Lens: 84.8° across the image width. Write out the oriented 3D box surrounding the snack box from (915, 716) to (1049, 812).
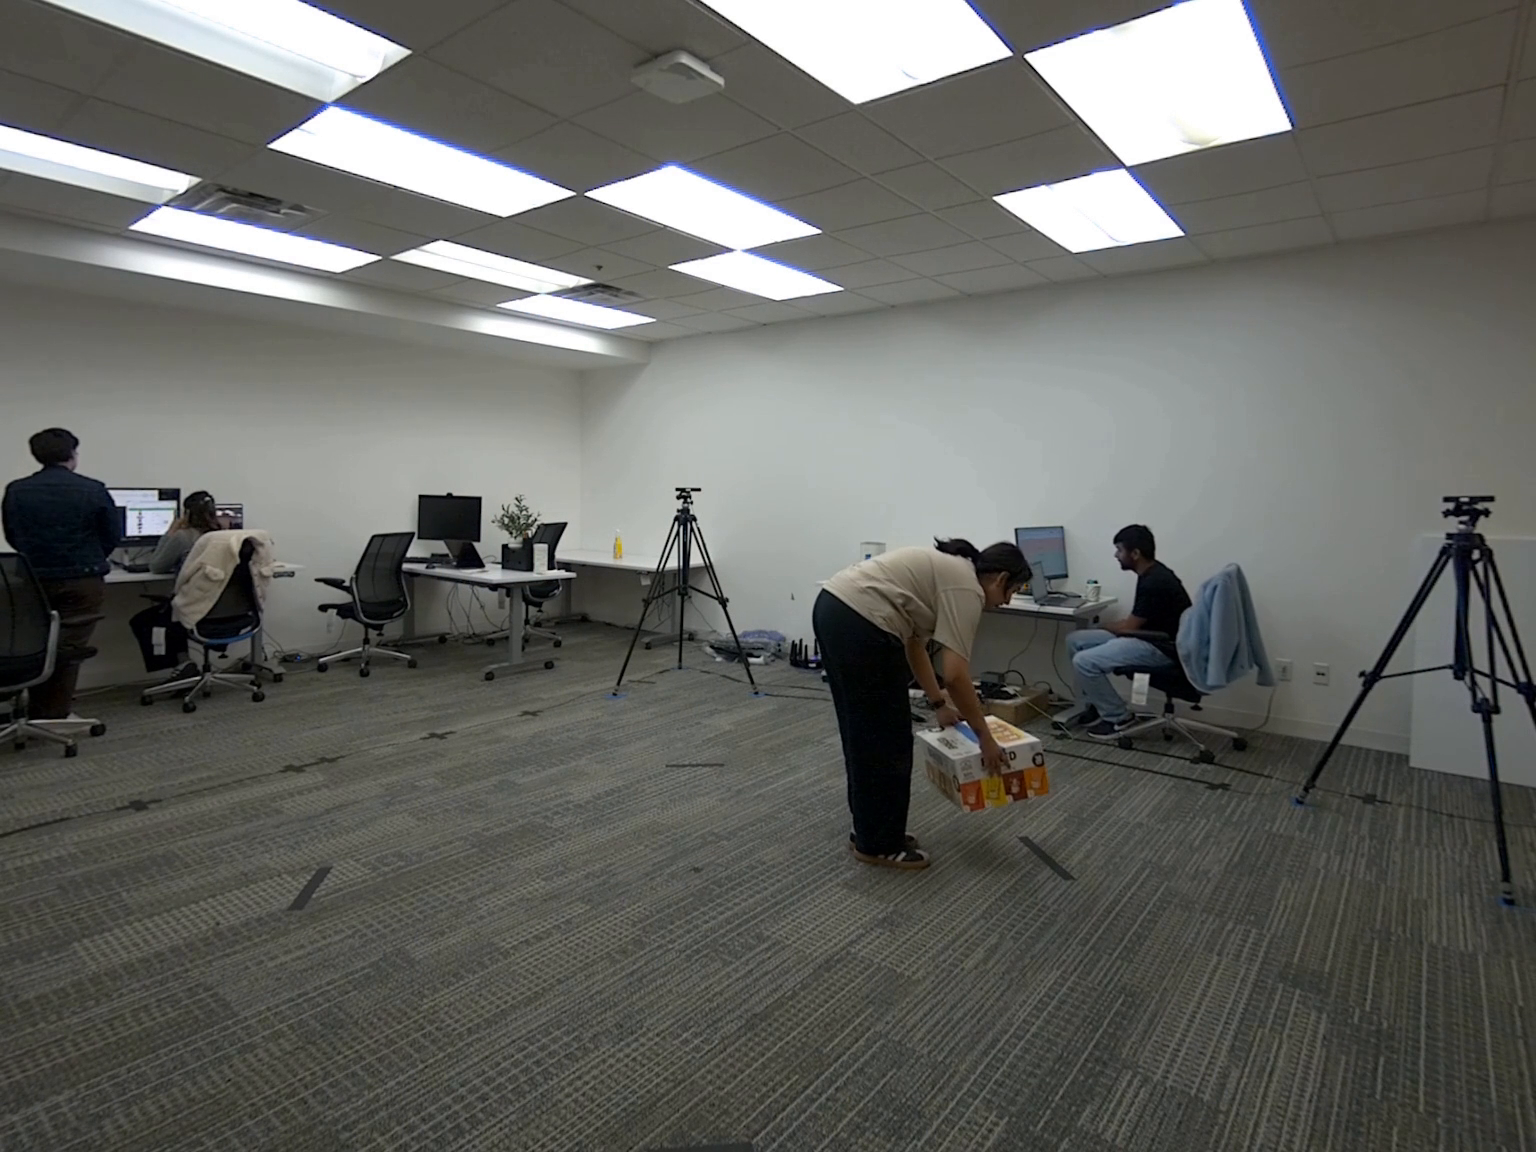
[{"bbox_3d":[0.815,0.719,3.305,0.338,0.205,0.409,-11,5,-8],"label":"snack box"}]
